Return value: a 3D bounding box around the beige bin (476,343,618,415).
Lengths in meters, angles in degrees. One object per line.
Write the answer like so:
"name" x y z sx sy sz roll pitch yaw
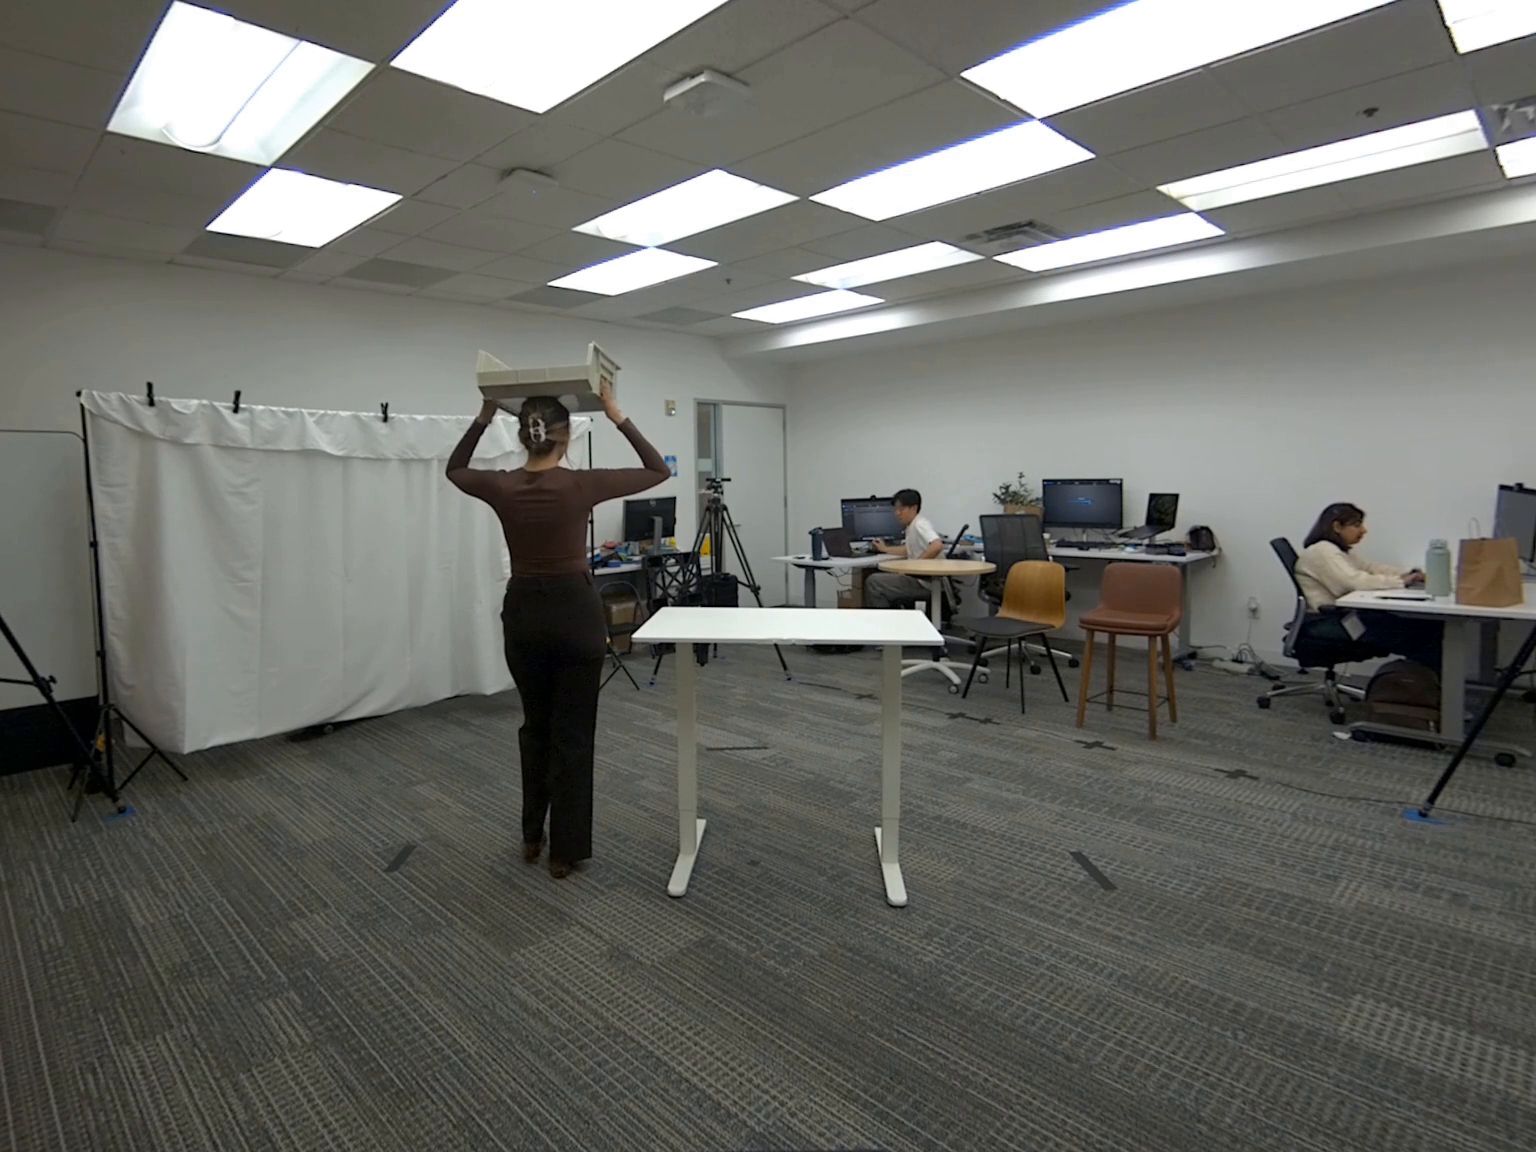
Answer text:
"beige bin" -0.789 -0.722 3.095 0.424 0.190 0.374 1 -3 4
